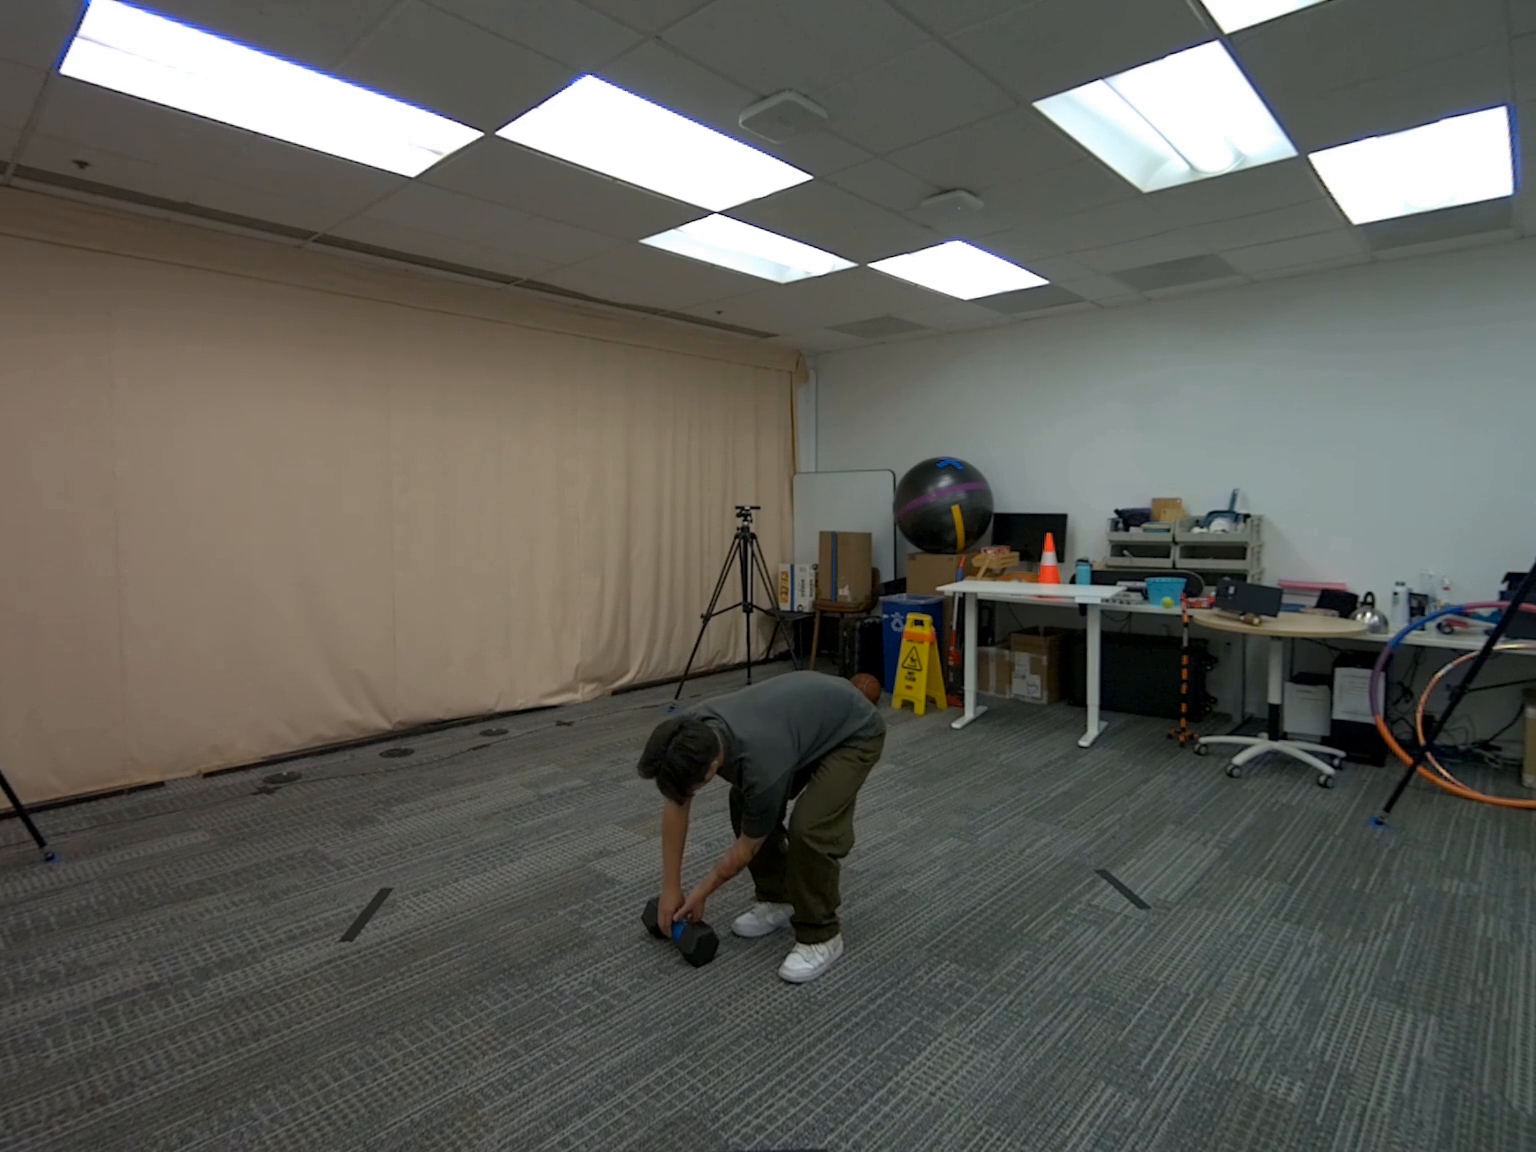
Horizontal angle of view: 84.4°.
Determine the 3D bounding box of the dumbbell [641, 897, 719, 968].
[{"bbox_3d":[-0.278,1.124,2.665,0.107,0.120,0.303,-38,25,-30],"label":"dumbbell"}]
